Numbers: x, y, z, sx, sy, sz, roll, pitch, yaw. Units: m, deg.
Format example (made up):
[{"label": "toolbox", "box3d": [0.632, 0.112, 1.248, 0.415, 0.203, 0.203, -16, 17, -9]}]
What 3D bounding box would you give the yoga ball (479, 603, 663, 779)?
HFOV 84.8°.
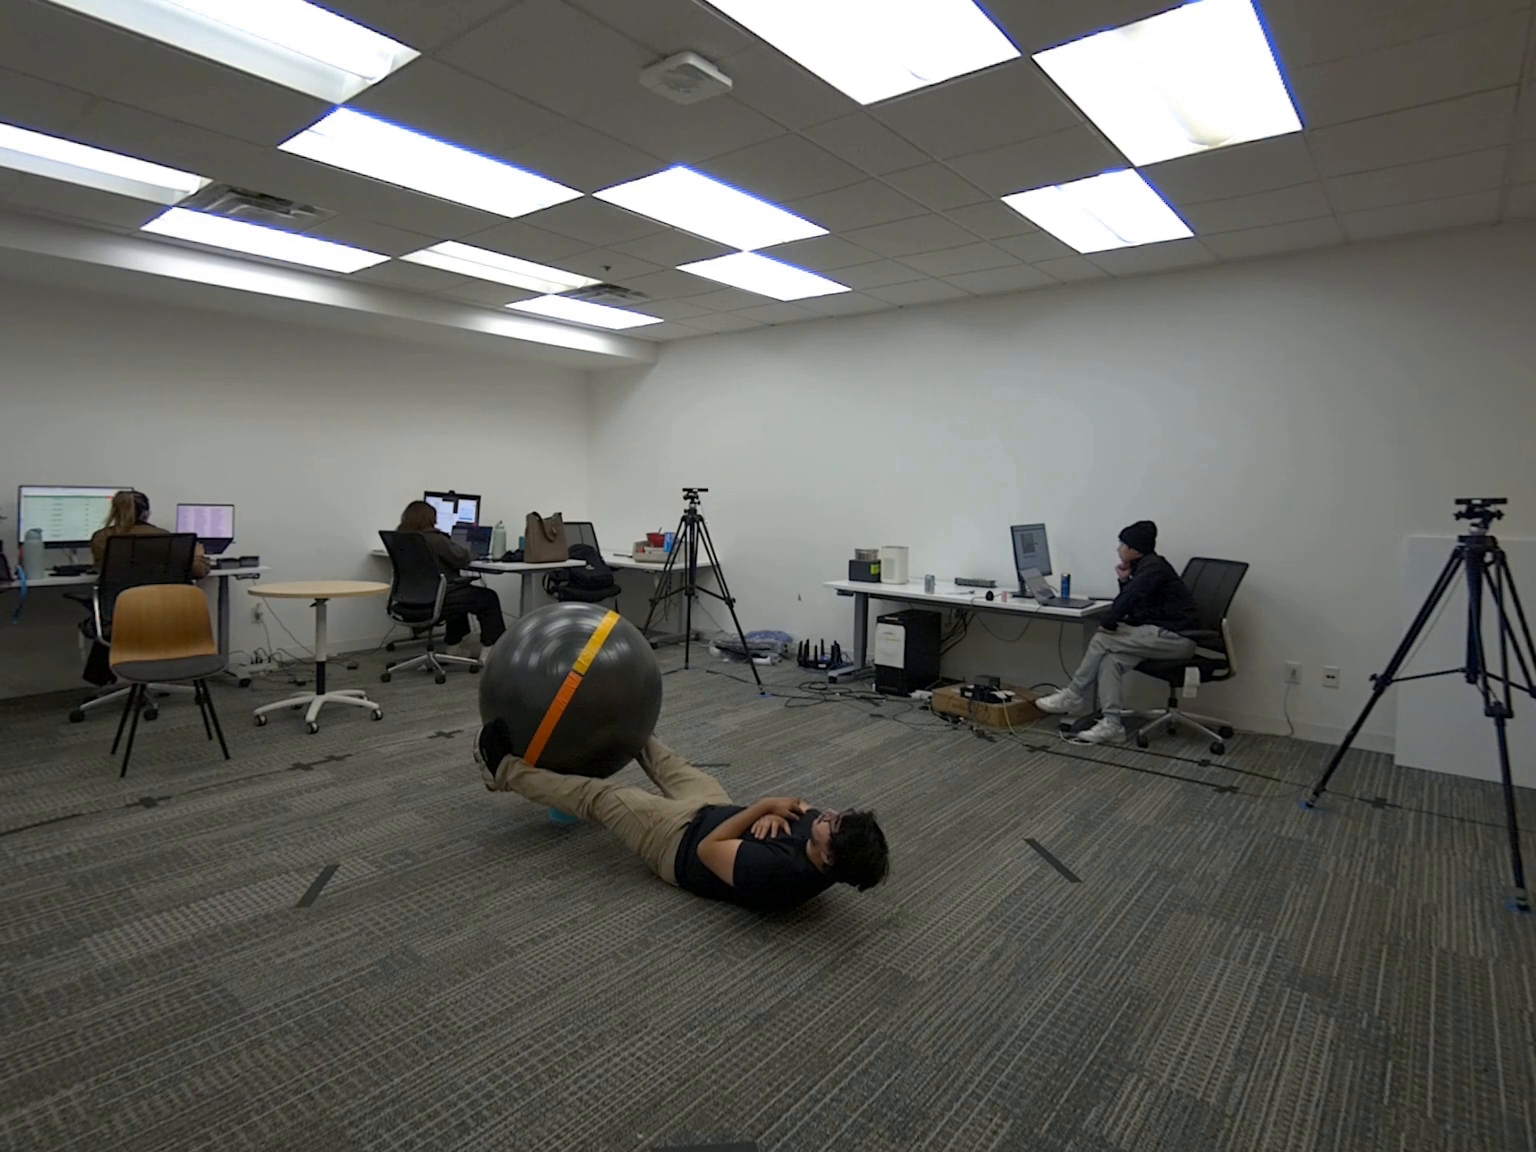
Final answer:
[{"label": "yoga ball", "box3d": [-0.835, 0.492, 3.568, 0.757, 0.755, 0.762, 1, 4, -2]}]
